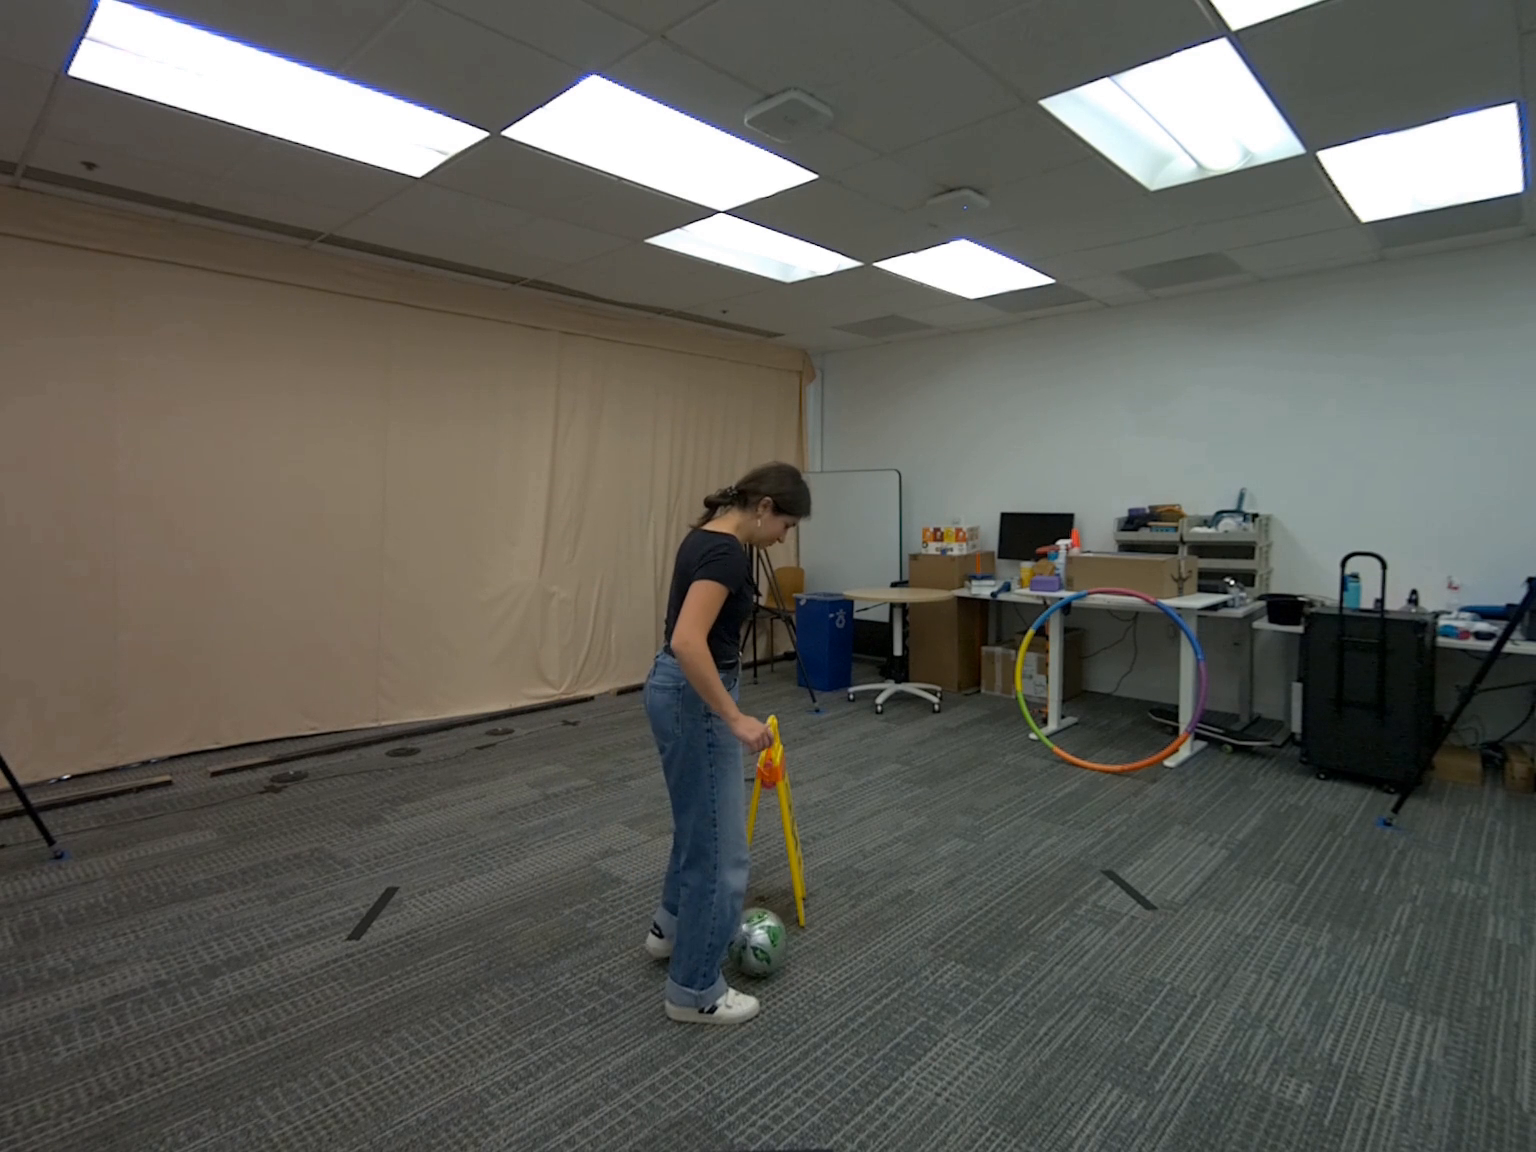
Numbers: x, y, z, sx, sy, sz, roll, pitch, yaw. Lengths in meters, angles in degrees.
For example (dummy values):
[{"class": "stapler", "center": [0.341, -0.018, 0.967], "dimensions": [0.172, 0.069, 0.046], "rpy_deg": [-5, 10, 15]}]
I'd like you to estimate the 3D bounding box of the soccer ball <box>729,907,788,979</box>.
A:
[{"class": "soccer ball", "center": [-0.017, 1.099, 2.501], "dimensions": [0.187, 0.187, 0.188], "rpy_deg": [0, 4, -2]}]
